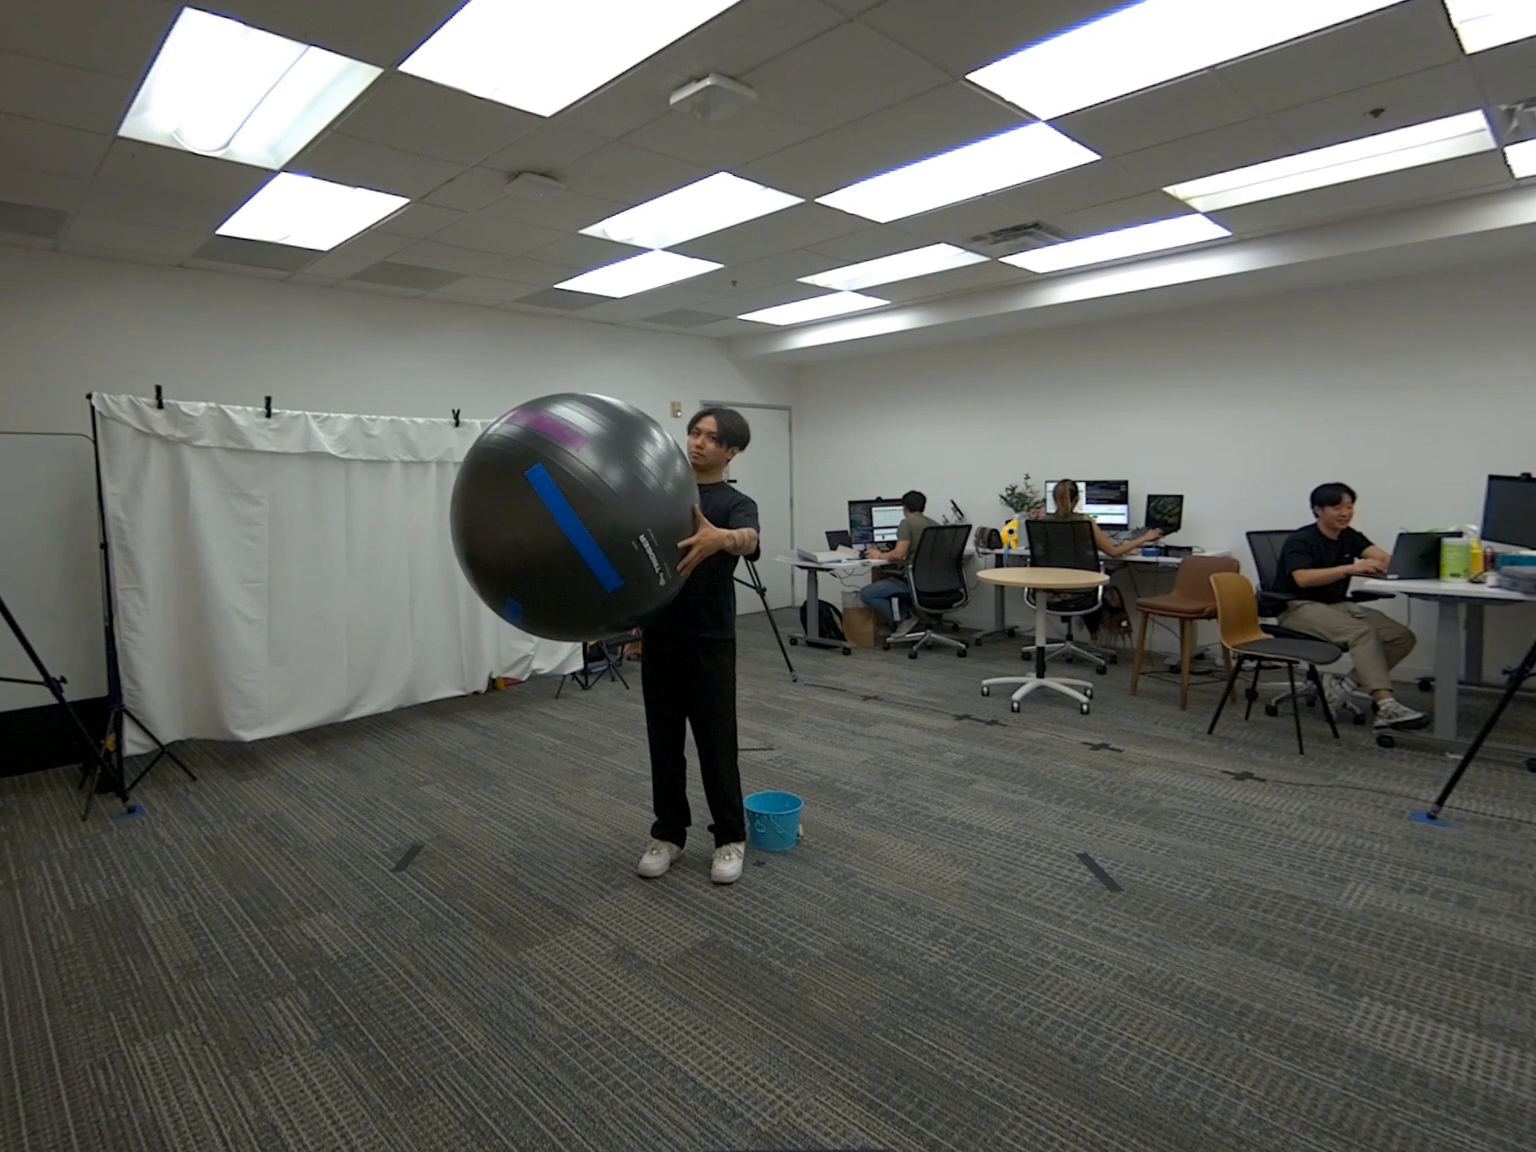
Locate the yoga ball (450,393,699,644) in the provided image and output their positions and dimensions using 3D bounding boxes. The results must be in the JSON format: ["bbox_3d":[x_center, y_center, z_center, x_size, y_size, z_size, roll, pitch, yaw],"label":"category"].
[{"bbox_3d":[-0.577,-0.174,2.636,0.757,0.755,0.762,-1,5,-2],"label":"yoga ball"}]
